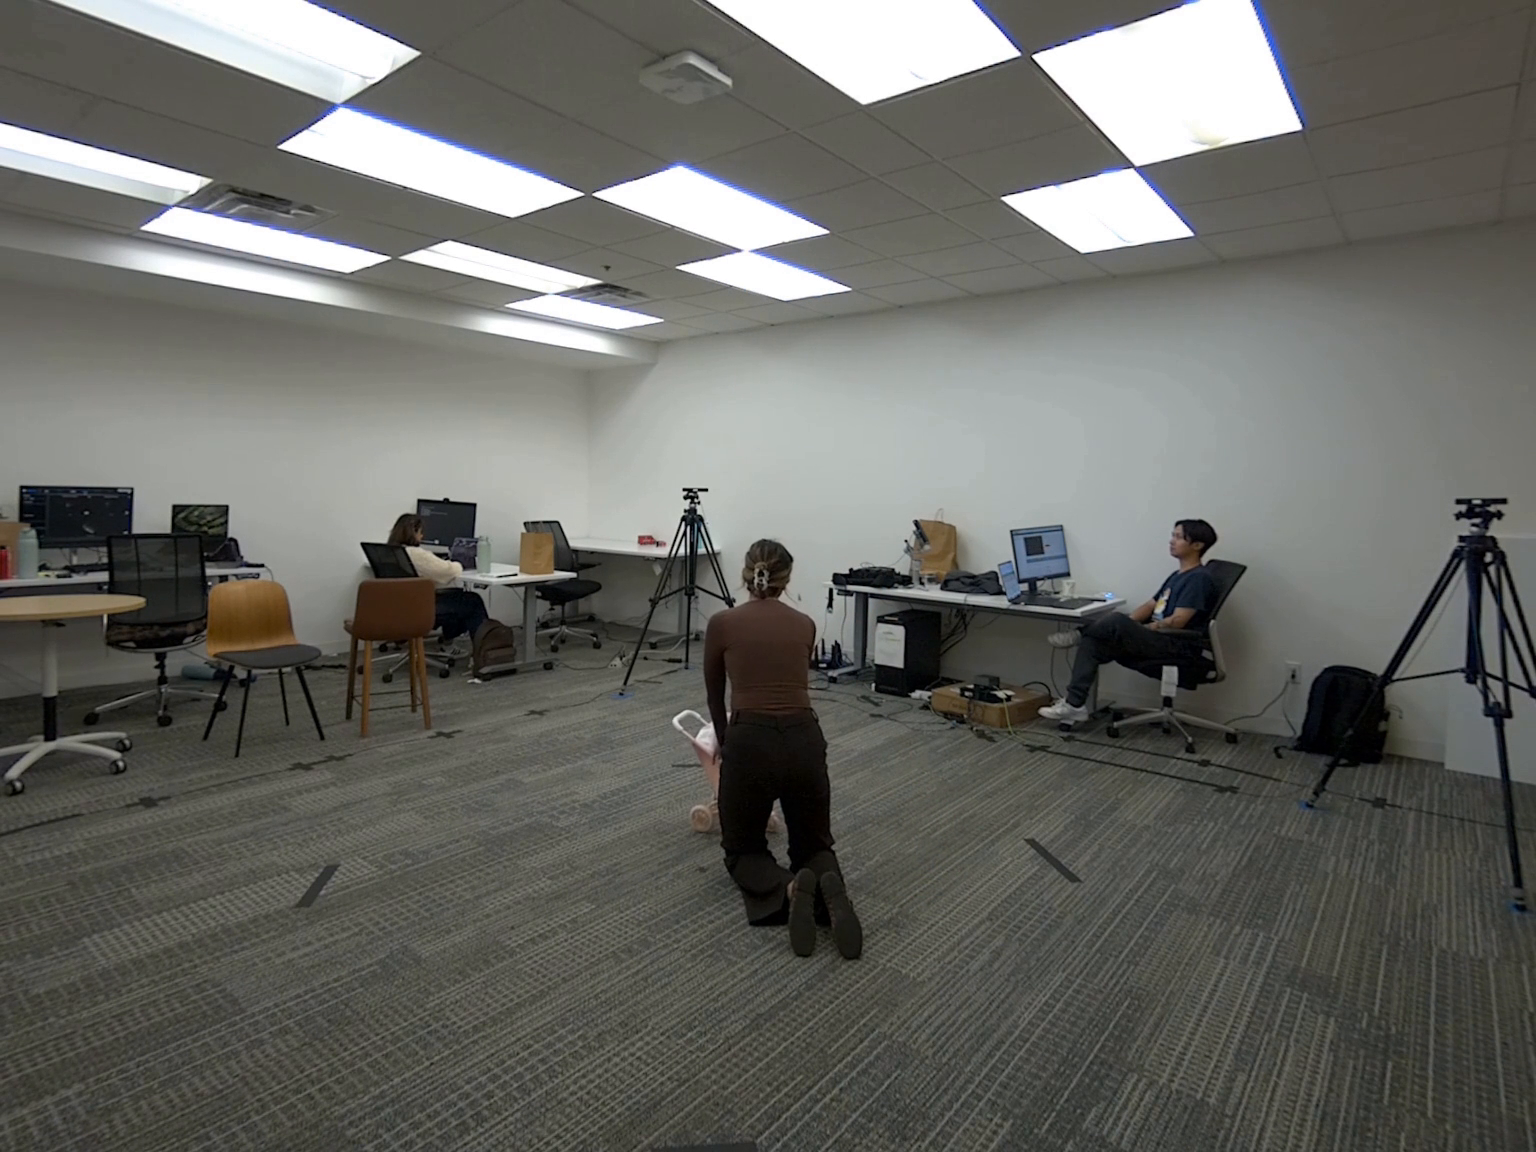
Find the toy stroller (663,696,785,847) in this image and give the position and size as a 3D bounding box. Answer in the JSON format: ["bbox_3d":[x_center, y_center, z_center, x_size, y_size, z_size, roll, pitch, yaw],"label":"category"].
[{"bbox_3d":[-0.170,0.800,3.520,0.348,0.537,0.275,-14,-3,25],"label":"toy stroller"}]
